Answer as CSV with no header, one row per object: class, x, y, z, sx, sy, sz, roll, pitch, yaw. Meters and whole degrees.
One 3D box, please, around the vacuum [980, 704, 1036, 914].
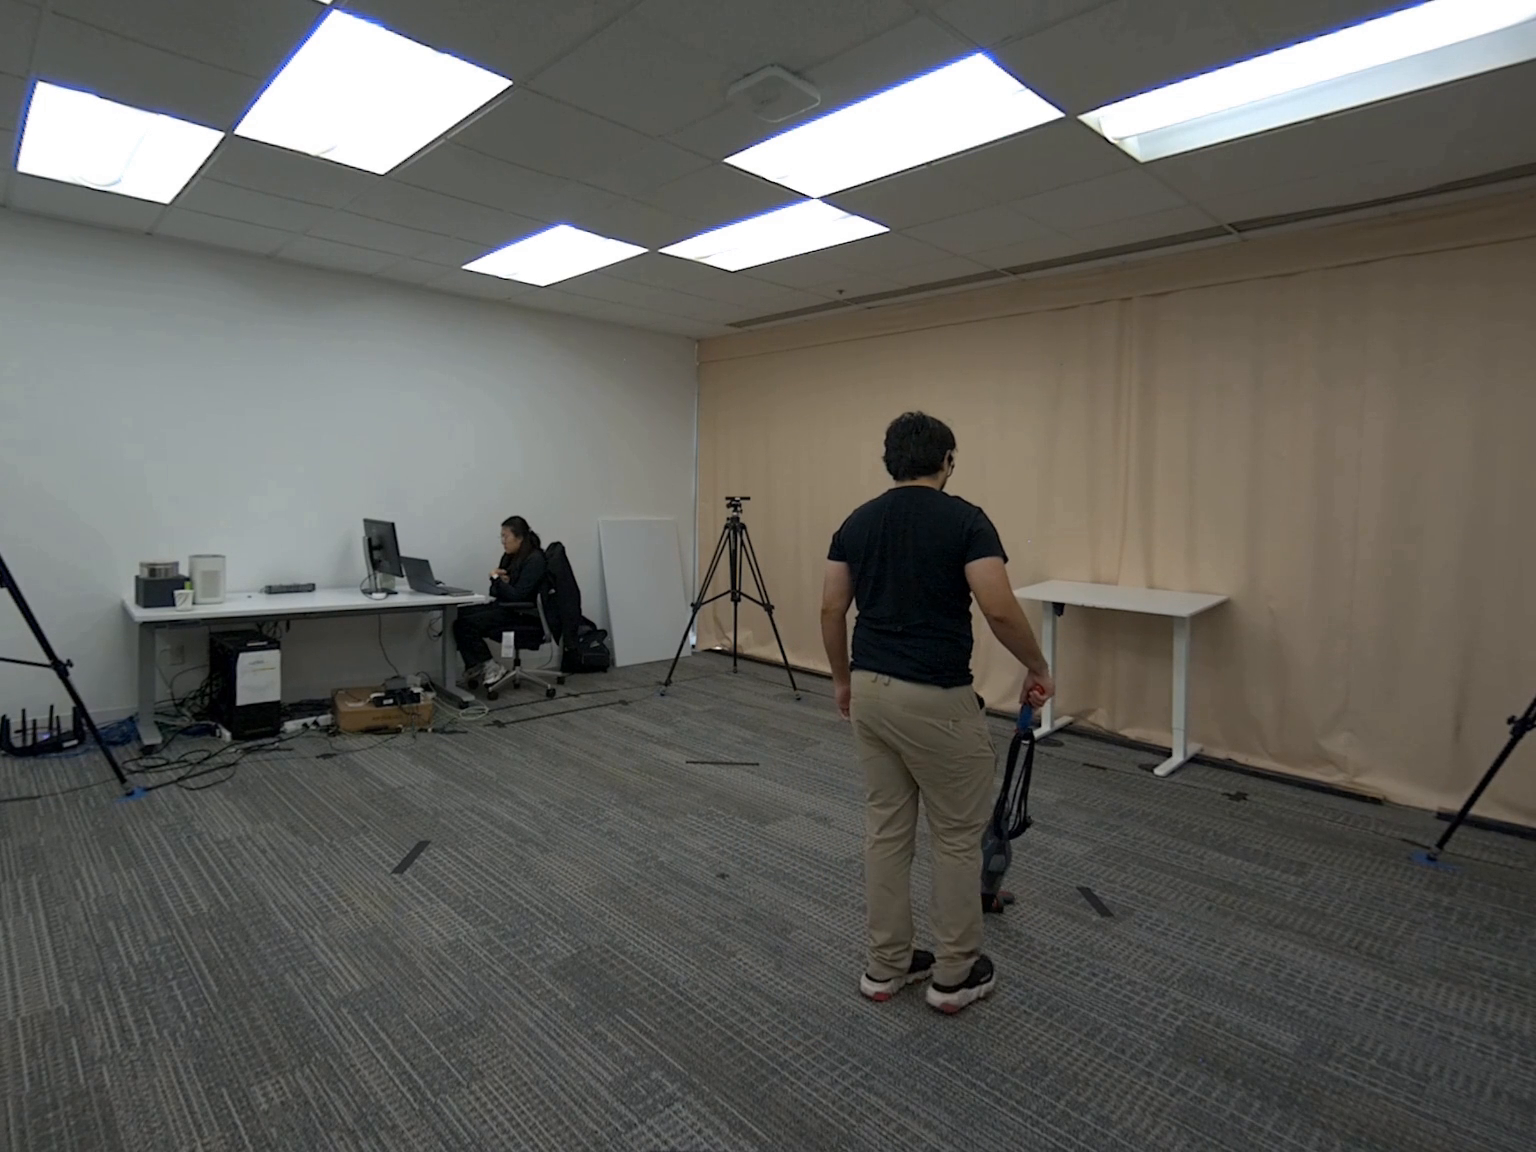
vacuum,0.739,0.726,2.625,0.254,1.027,0.146,5,37,6
